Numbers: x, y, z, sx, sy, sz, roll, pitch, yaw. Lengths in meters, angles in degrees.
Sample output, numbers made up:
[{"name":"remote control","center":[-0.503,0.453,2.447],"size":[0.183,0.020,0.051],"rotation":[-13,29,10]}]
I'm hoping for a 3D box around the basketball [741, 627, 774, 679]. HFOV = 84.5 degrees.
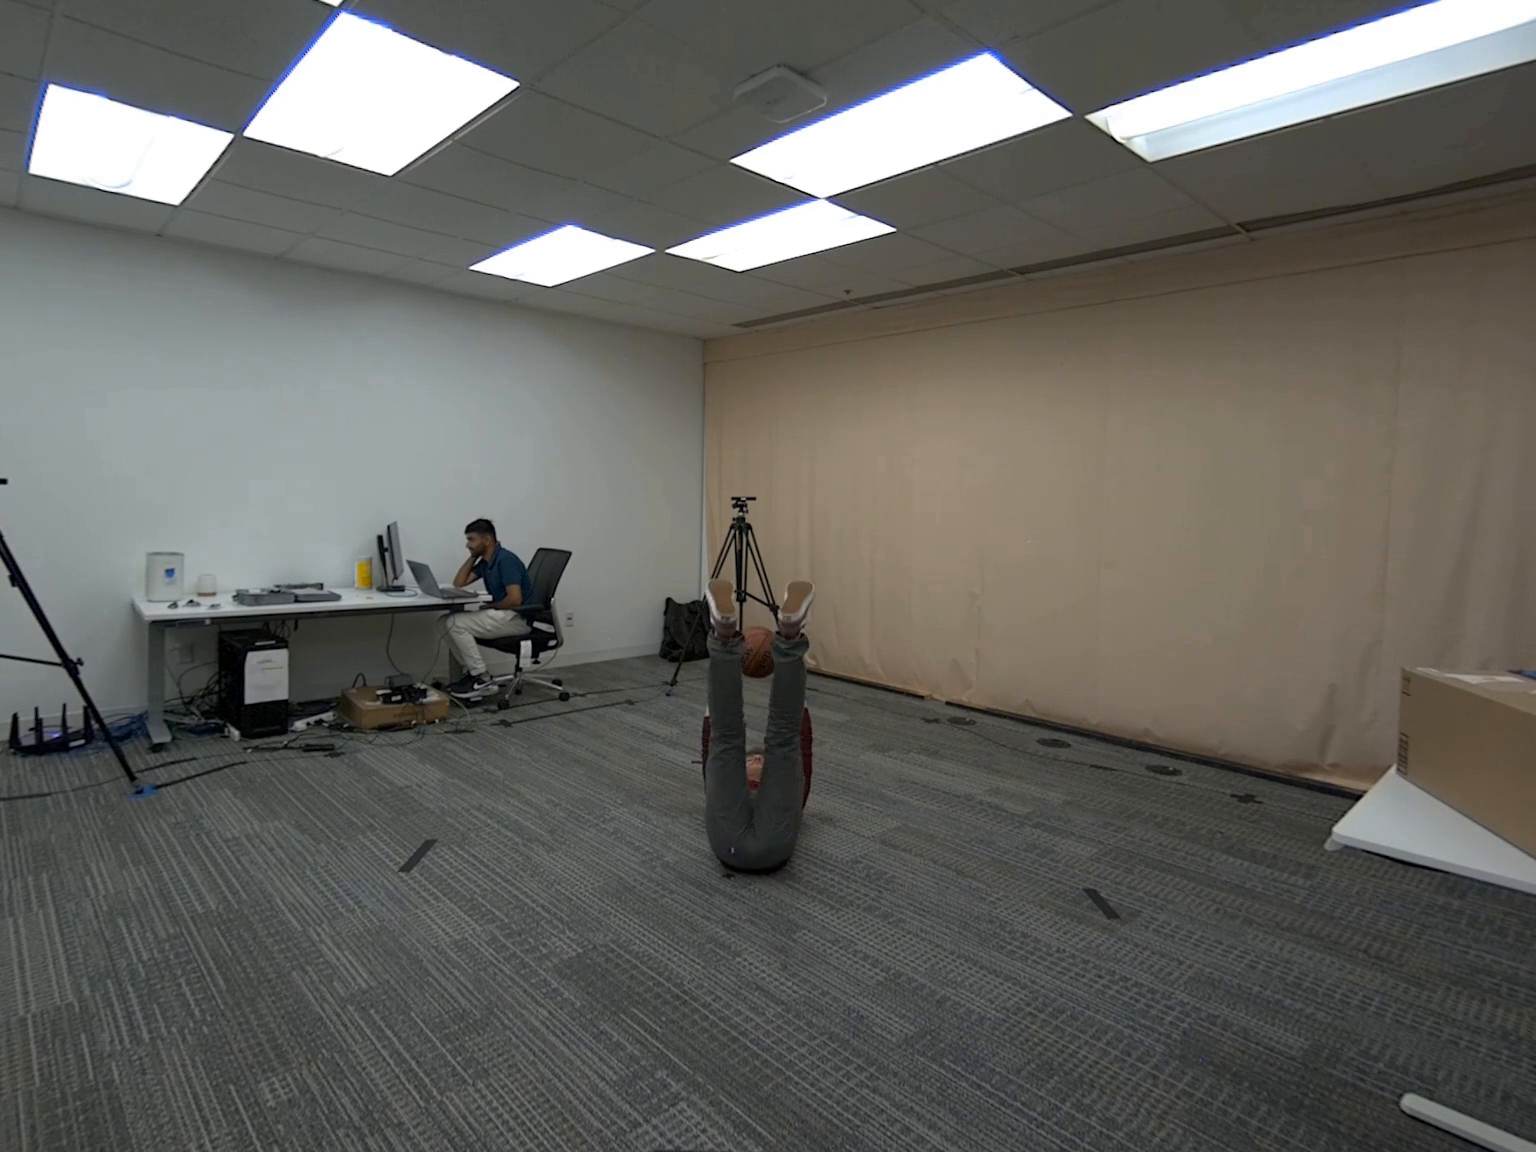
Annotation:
[{"name":"basketball","center":[-0.059,0.362,3.913],"size":[0.236,0.235,0.237],"rotation":[1,4,-1]}]
